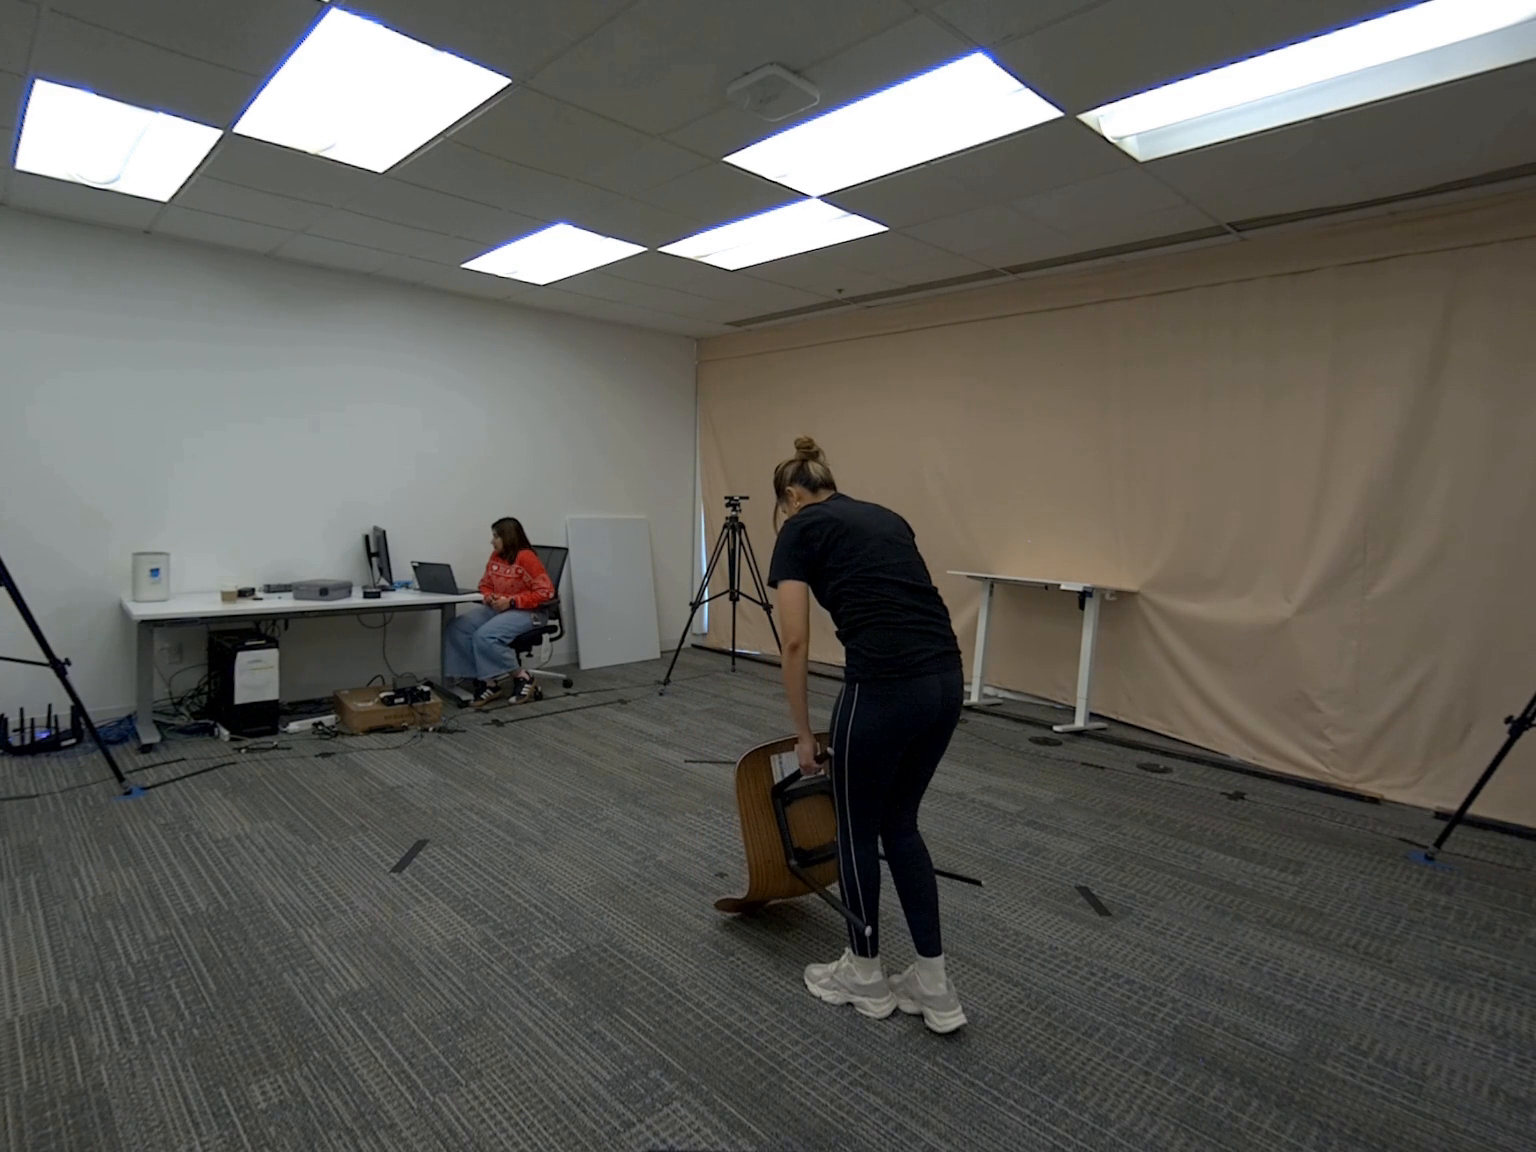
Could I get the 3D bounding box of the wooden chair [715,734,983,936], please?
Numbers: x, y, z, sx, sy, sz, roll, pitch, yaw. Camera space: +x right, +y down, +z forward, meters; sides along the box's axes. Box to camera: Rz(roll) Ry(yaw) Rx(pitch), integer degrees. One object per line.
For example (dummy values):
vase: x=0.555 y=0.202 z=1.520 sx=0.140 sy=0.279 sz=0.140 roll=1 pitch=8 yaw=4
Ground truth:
wooden chair: x=0.137 y=0.754 z=2.582 sx=0.468 sy=0.530 sz=0.885 roll=-3 pitch=-16 yaw=-36
